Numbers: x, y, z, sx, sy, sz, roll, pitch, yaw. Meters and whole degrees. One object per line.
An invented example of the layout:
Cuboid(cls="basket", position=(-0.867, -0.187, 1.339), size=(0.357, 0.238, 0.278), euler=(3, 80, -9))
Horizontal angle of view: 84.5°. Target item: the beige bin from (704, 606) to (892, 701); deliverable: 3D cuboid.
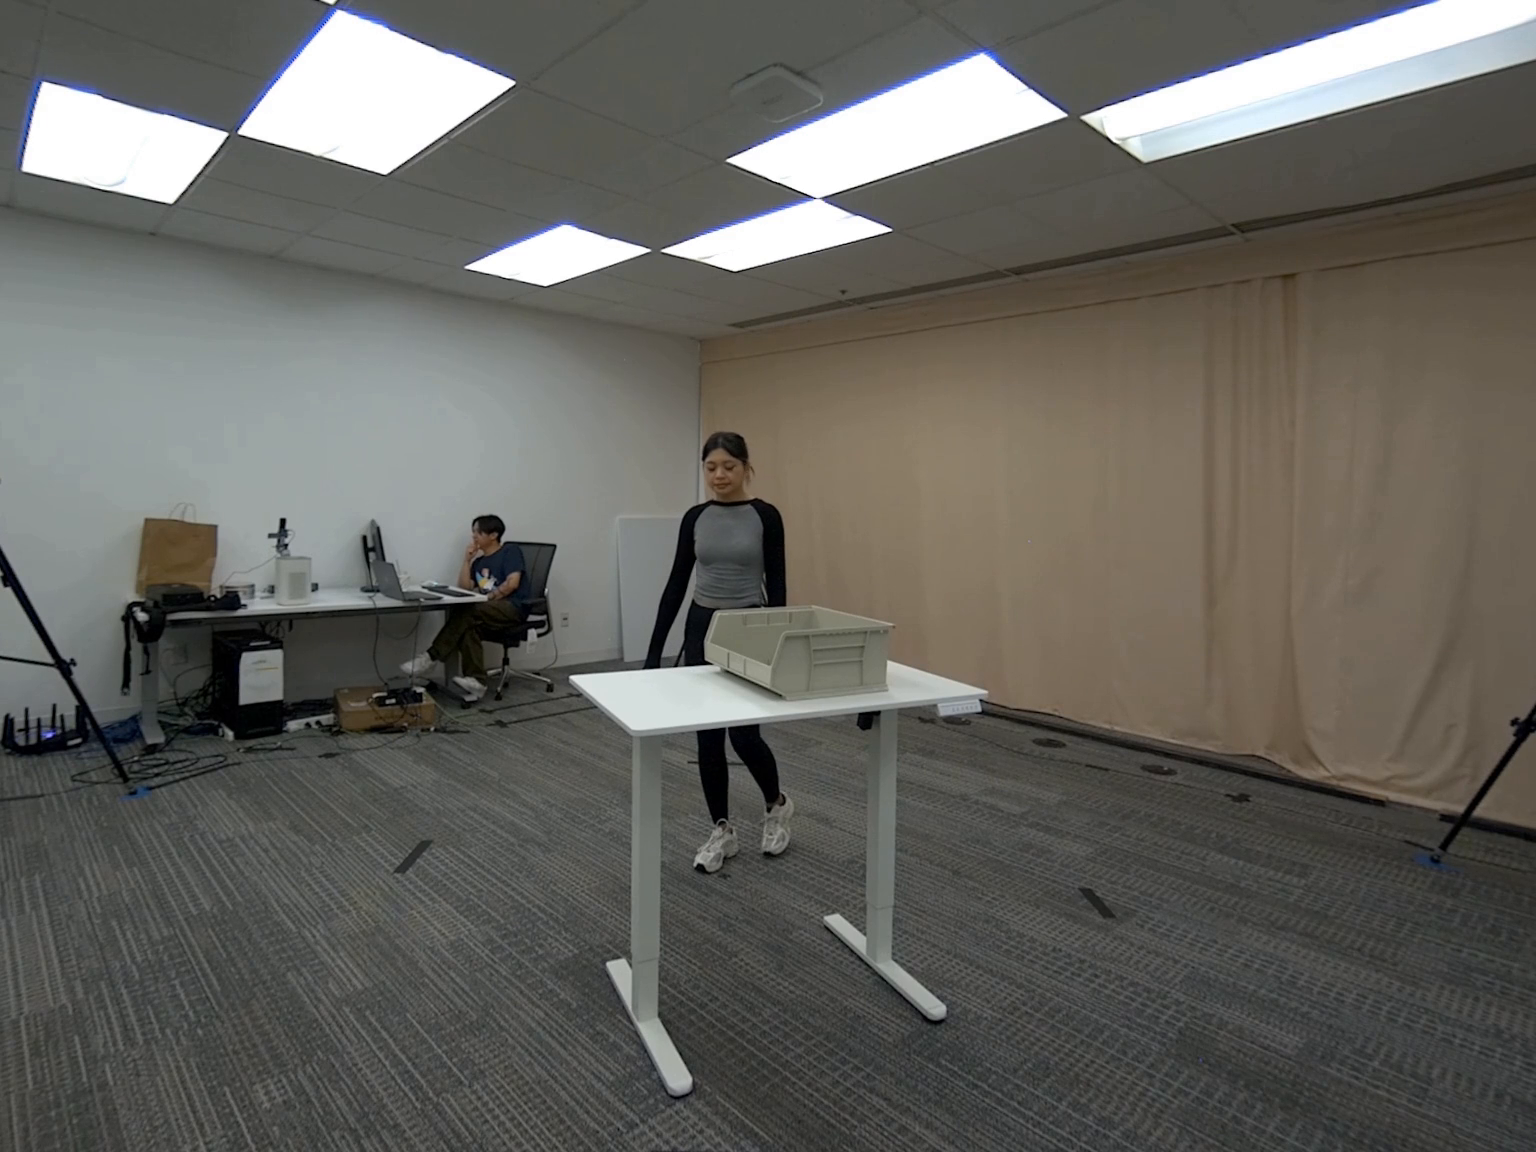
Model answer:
Cuboid(cls="beige bin", position=(0.068, 0.215, 2.354), size=(0.370, 0.188, 0.431), euler=(-1, 4, -29))
